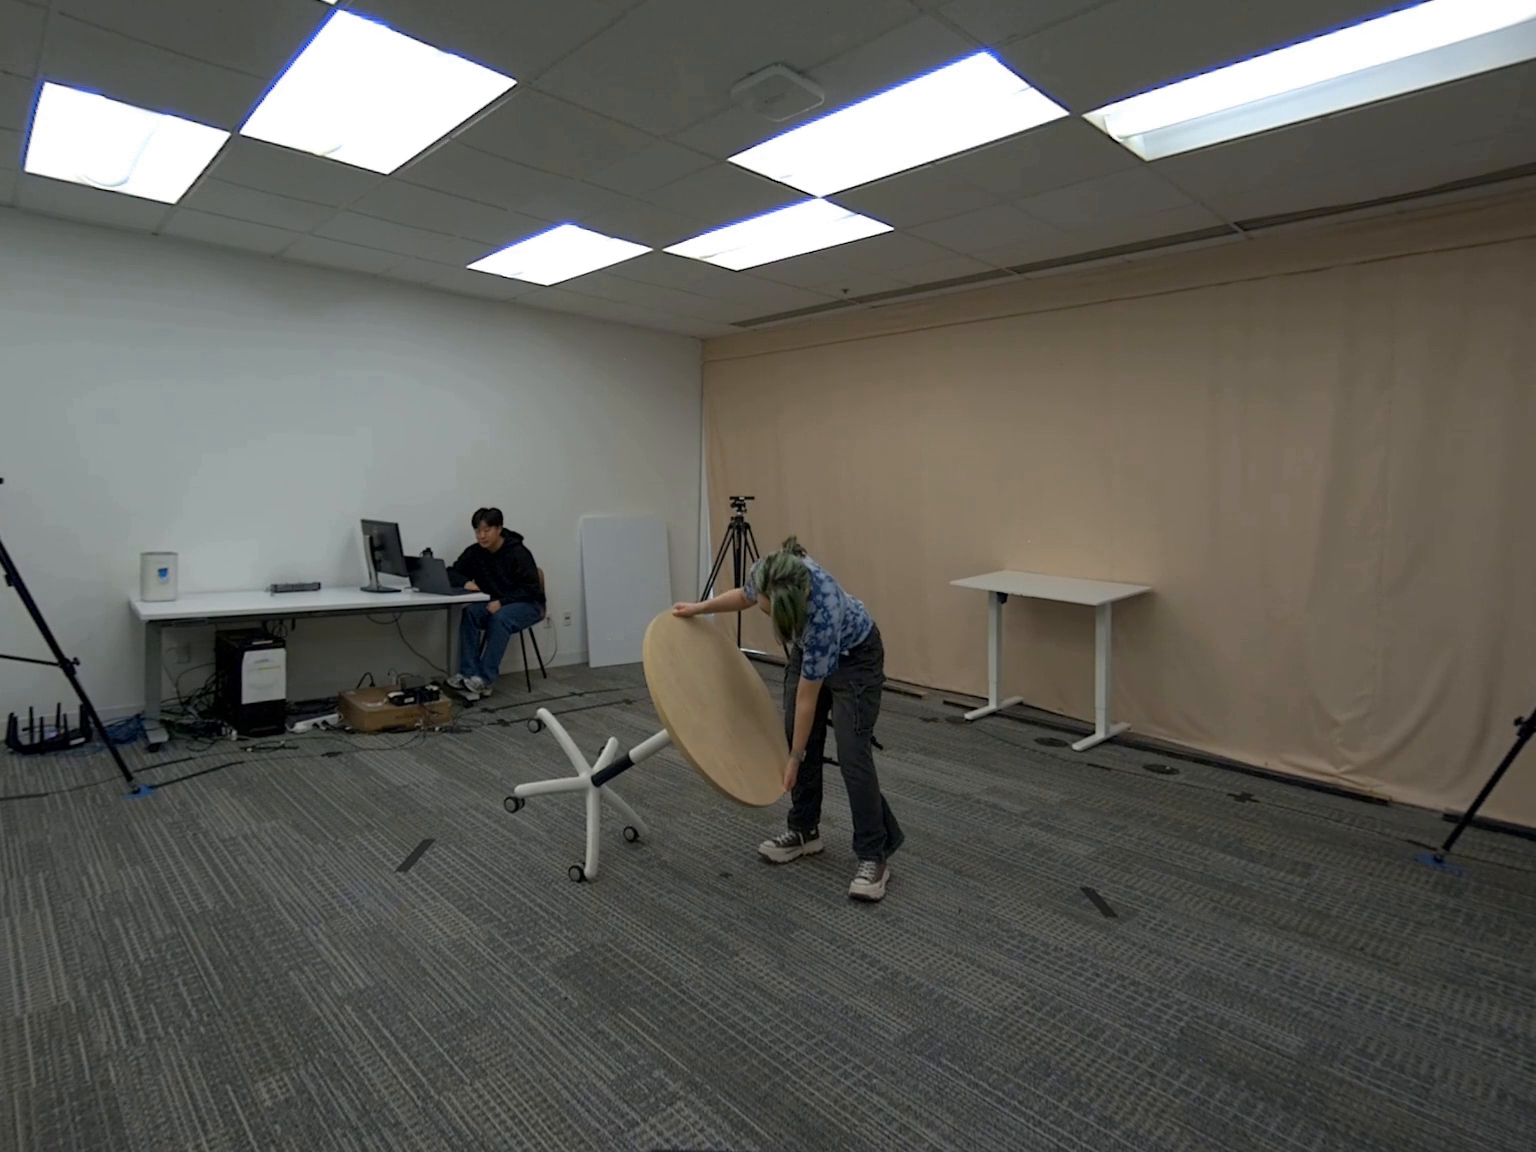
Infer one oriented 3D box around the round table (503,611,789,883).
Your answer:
[{"bbox_3d":[-0.469,0.657,3.121,0.797,0.772,0.752,-35,-10,21],"label":"round table"}]
